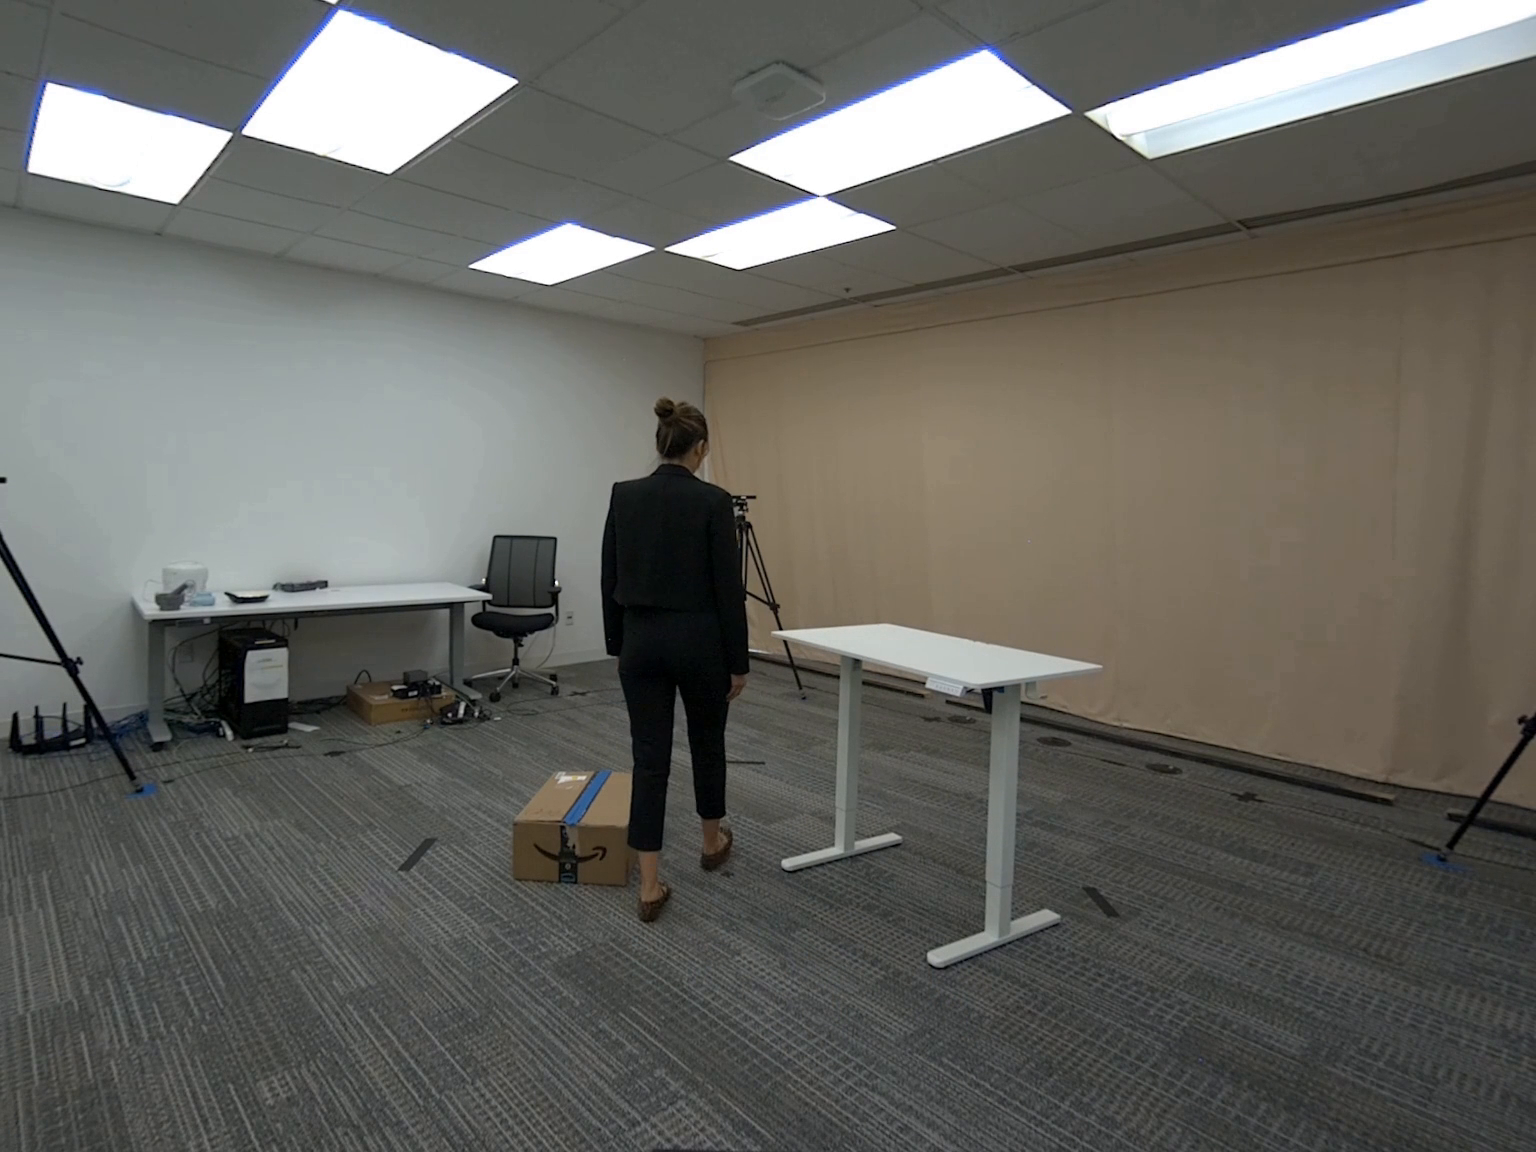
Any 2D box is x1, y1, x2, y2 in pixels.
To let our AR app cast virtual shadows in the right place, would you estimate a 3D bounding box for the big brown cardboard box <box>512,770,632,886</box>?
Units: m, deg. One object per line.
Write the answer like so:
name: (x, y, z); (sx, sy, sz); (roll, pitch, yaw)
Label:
big brown cardboard box: (-0.708, 0.962, 3.279); (0.418, 0.232, 0.590); (1, 6, 2)
